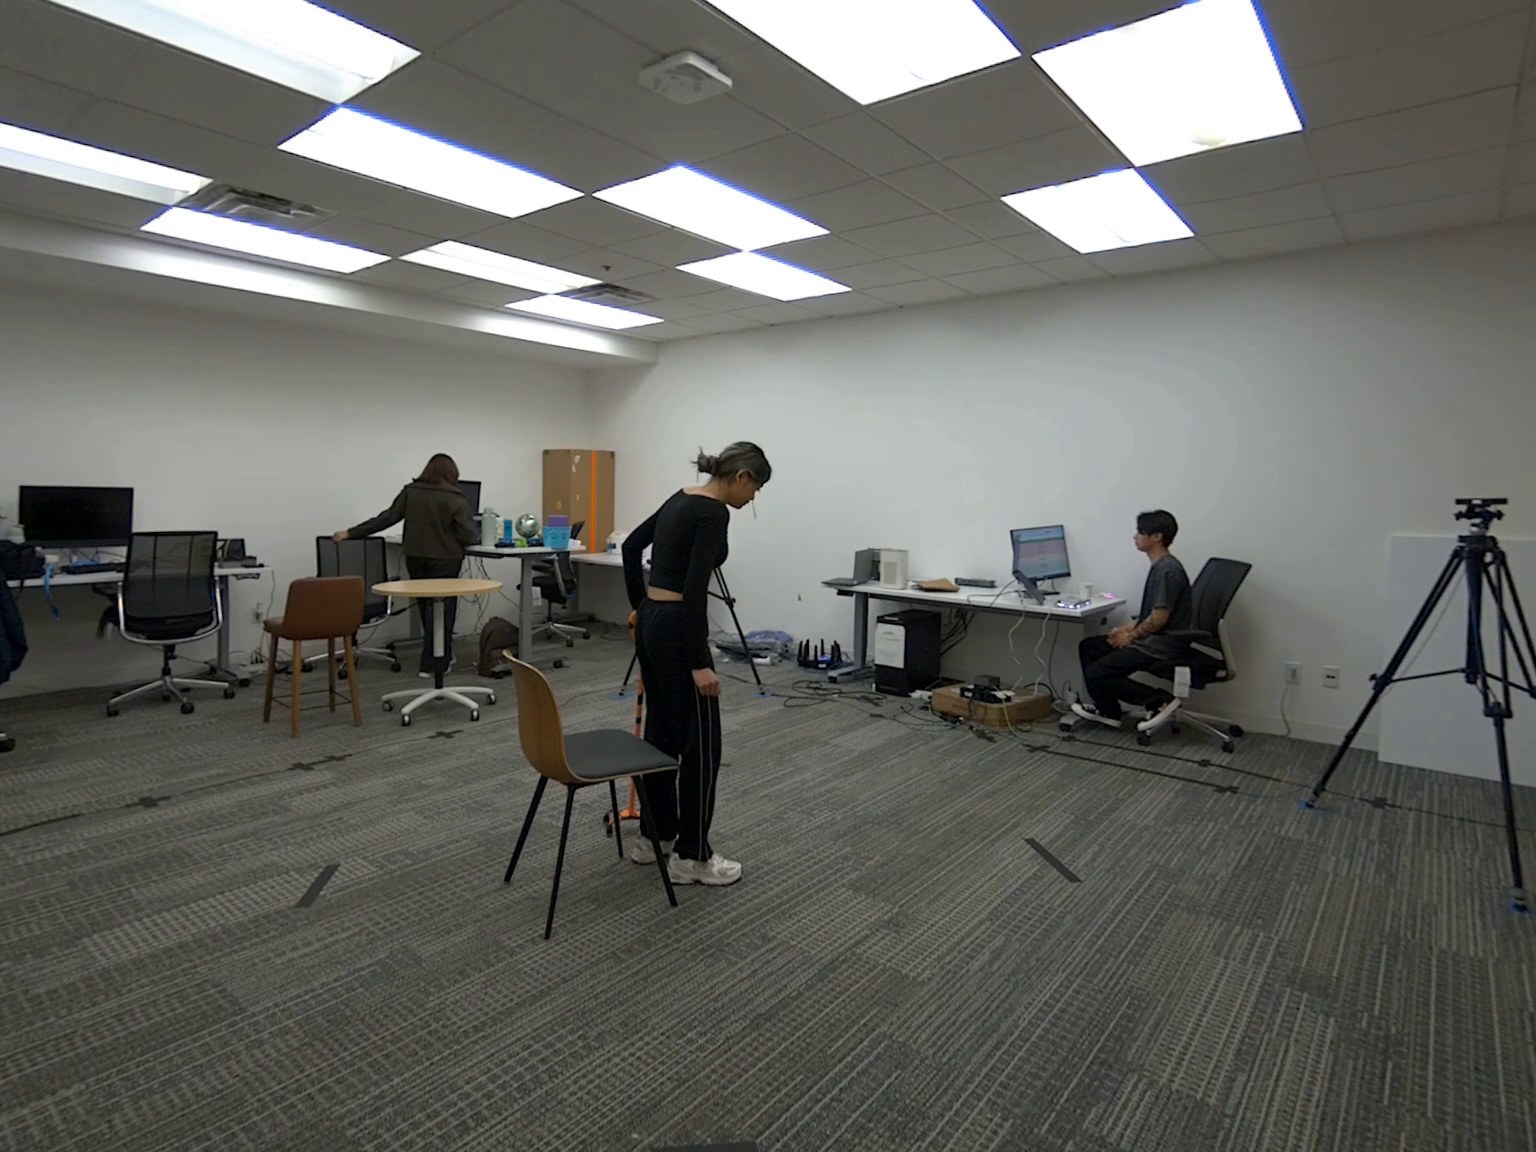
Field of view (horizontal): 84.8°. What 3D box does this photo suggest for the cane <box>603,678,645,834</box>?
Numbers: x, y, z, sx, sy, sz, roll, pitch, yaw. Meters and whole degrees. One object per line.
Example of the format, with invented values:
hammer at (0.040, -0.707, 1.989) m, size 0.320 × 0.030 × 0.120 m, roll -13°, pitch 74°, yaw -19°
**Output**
cane at (-0.538, 0.574, 3.456) m, size 0.203 × 0.906 × 0.154 m, roll 4°, pitch 2°, yaw -16°
